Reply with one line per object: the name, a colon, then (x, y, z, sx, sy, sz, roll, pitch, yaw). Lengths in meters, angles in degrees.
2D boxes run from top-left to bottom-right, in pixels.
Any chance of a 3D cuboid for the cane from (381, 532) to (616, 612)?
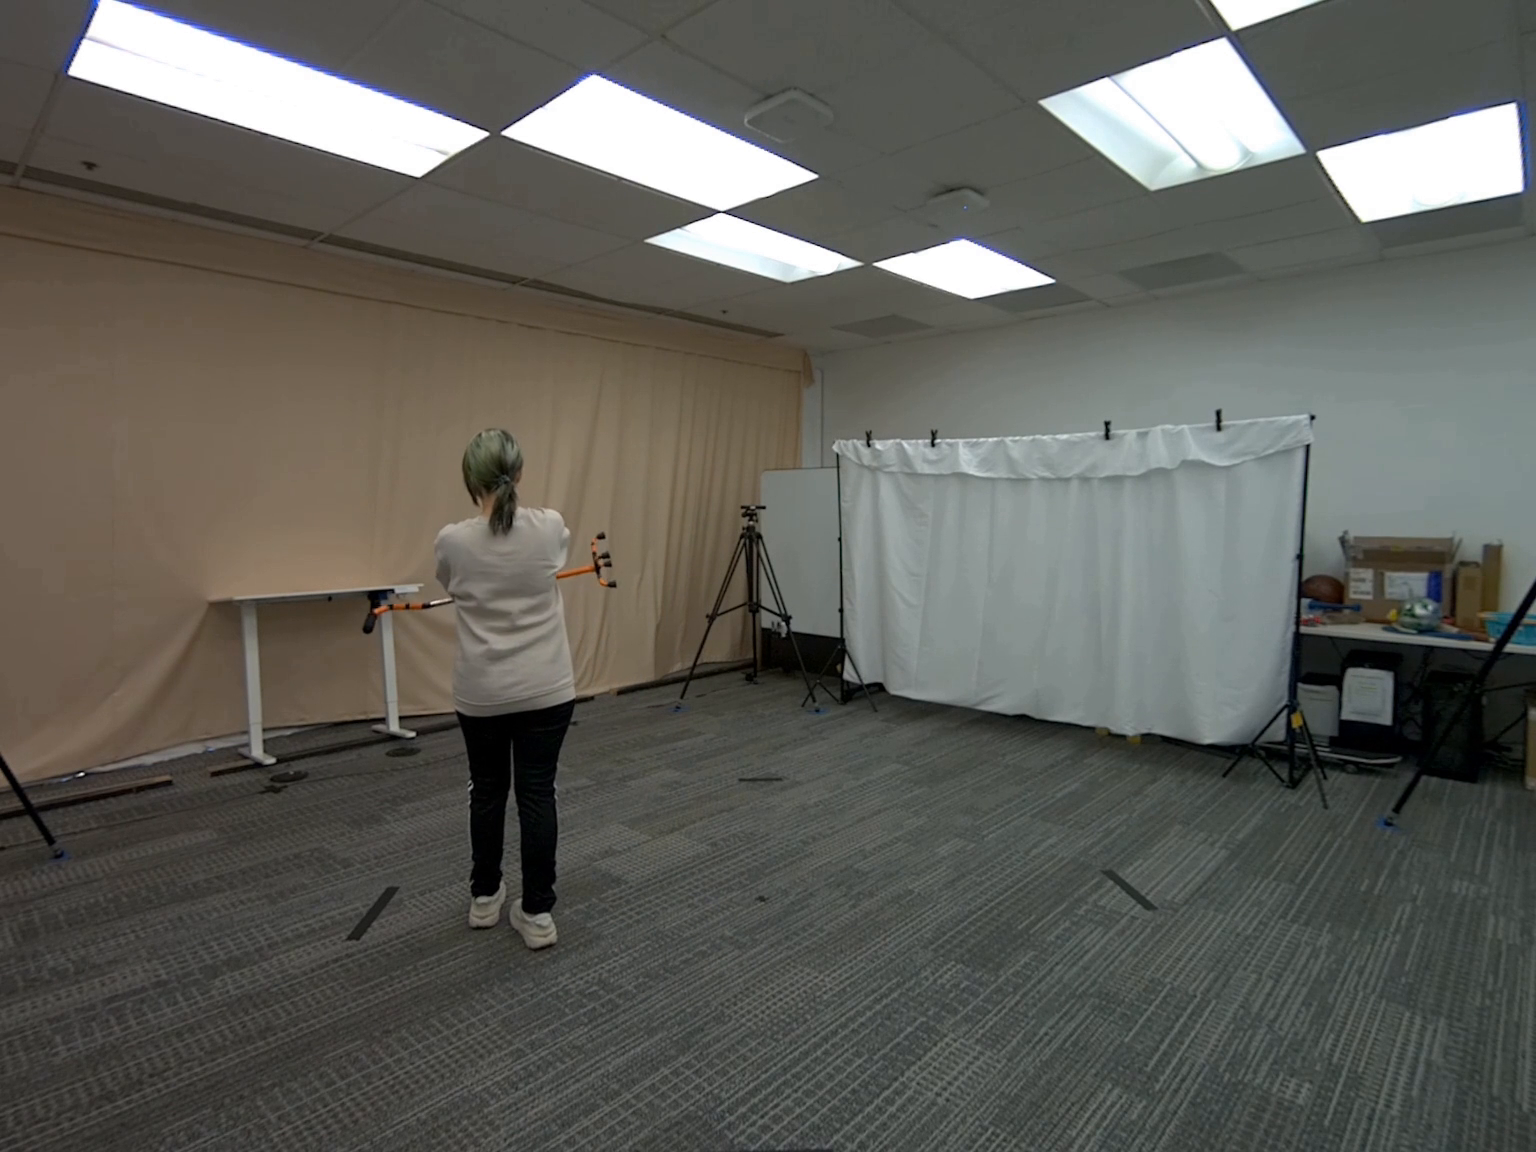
cane: (-1.024, 0.043, 3.115, 0.899, 0.149, 0.212, -14, 30, -10)
